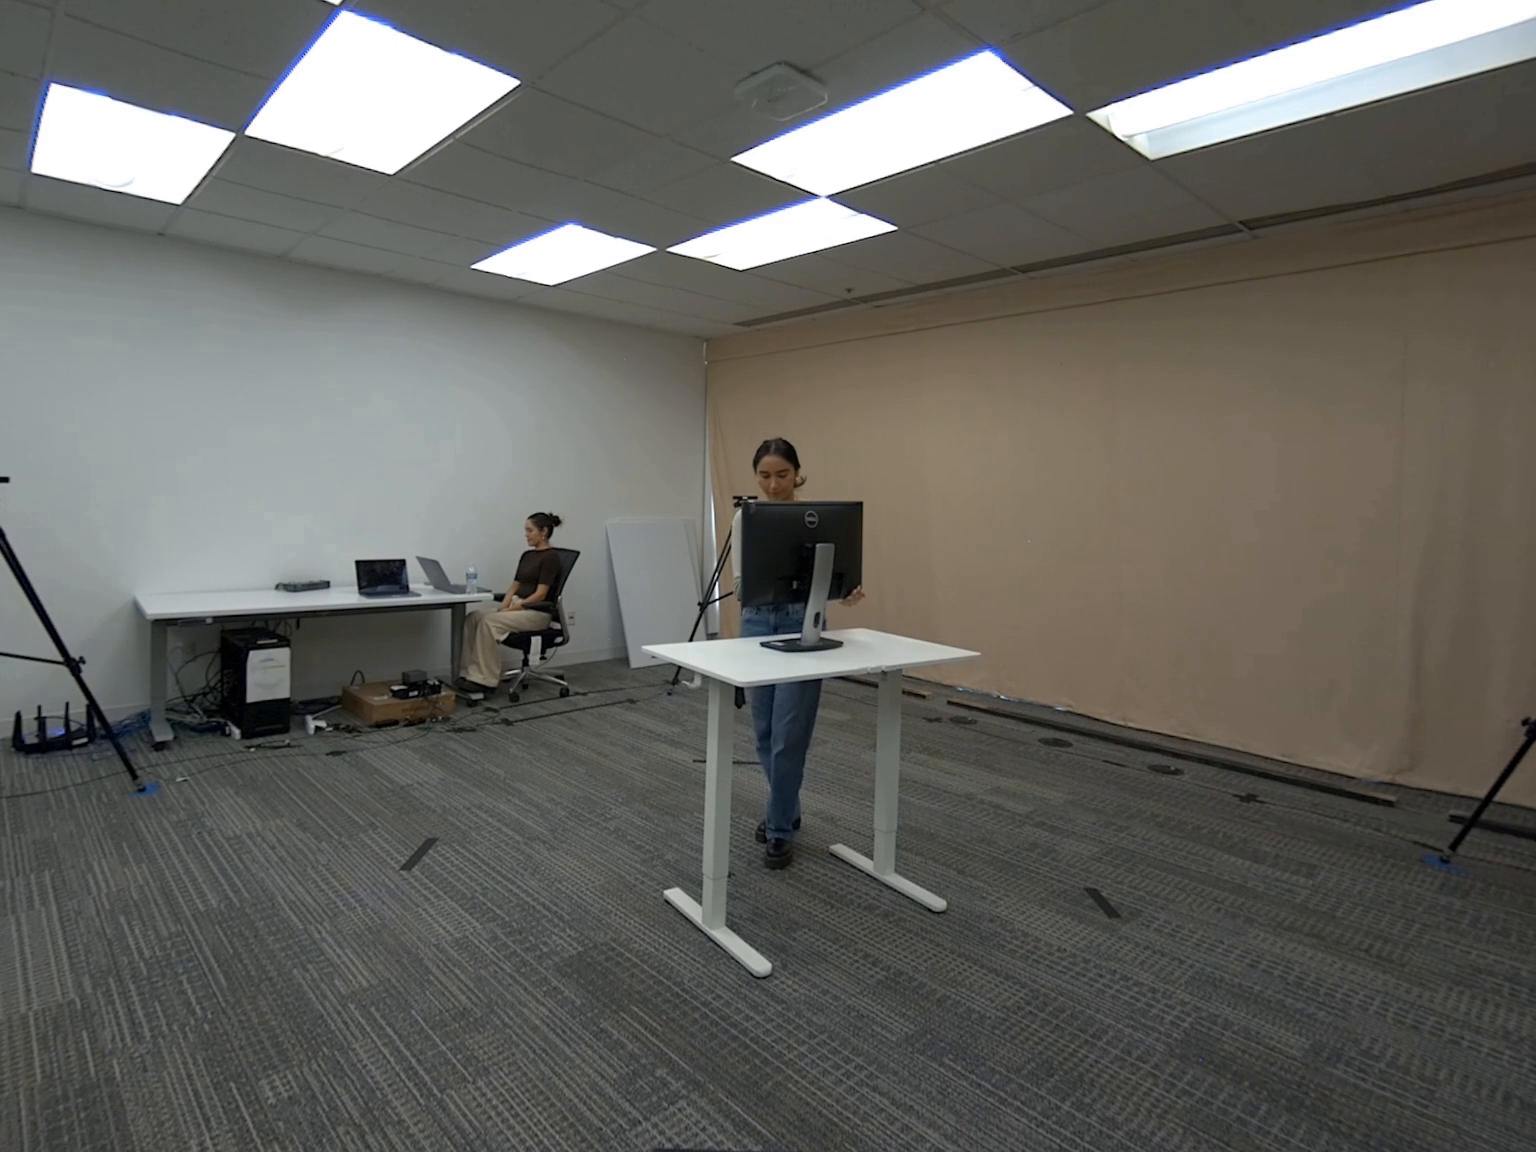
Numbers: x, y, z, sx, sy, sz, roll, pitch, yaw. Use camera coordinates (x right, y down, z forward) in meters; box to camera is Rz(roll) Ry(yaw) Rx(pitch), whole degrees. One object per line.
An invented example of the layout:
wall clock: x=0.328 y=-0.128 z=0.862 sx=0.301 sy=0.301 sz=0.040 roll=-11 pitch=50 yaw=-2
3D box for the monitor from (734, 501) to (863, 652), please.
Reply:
monitor: x=0.136 y=0.003 z=2.893 sx=0.527 sy=0.523 sz=0.191 roll=-3 pitch=0 yaw=-38
